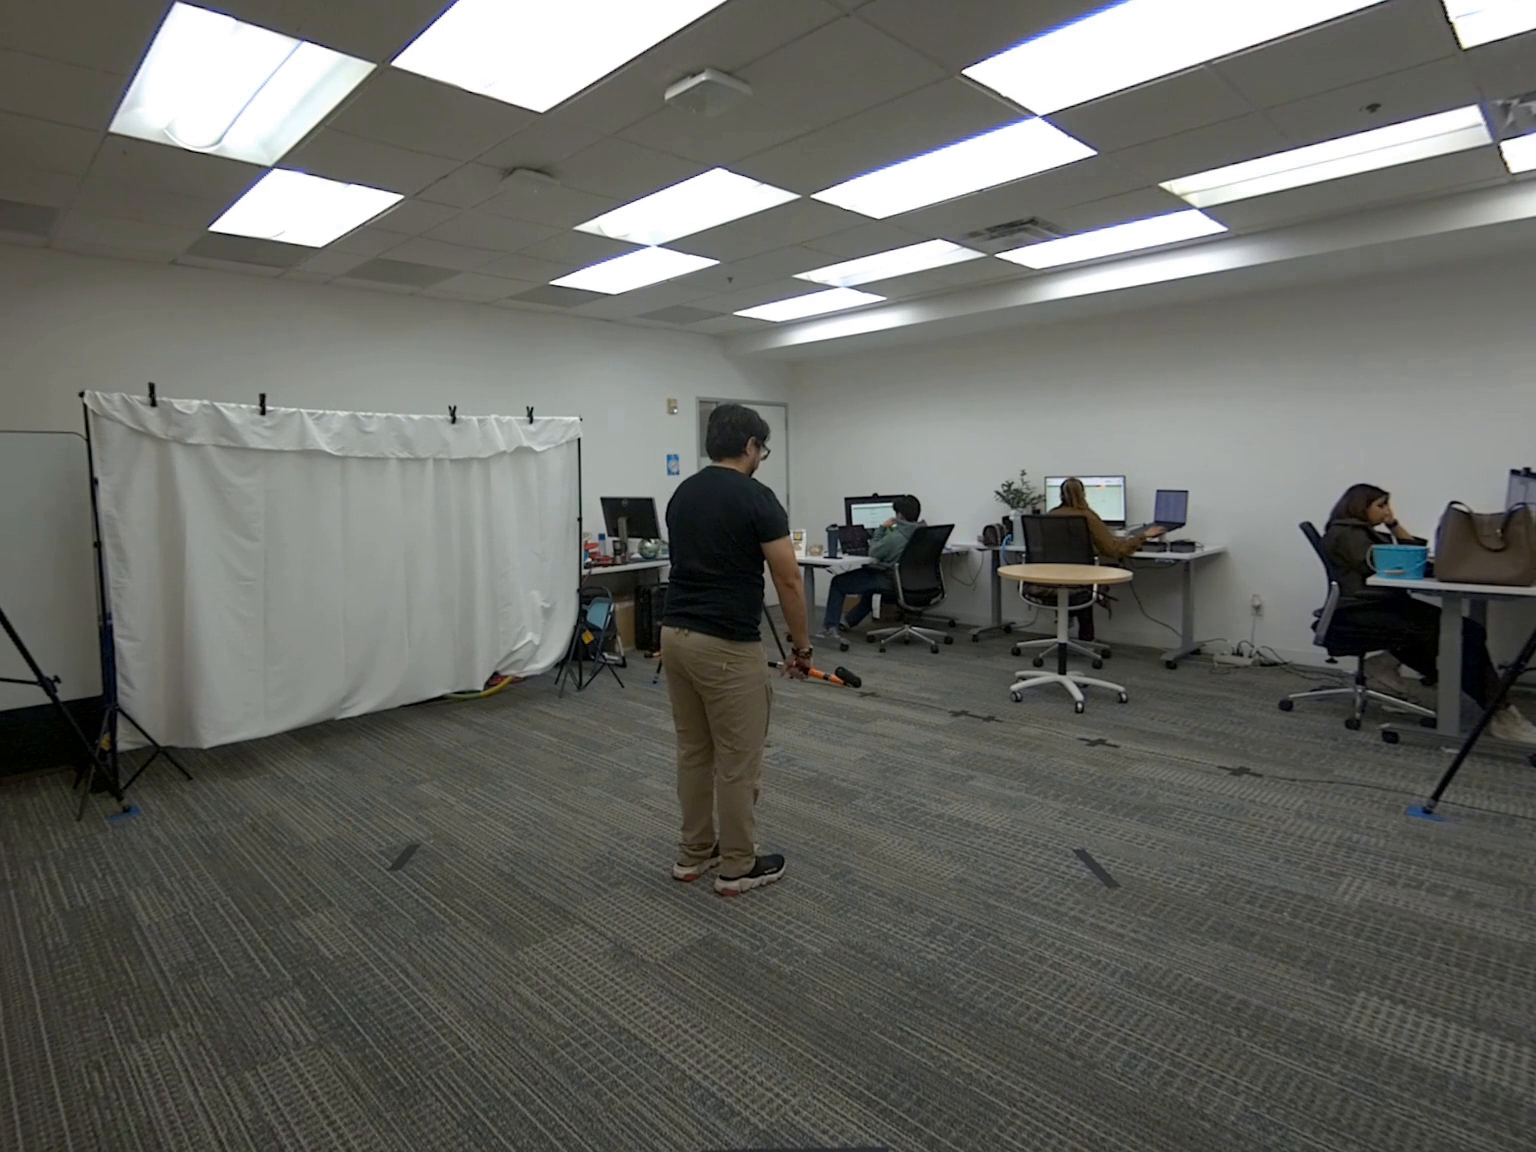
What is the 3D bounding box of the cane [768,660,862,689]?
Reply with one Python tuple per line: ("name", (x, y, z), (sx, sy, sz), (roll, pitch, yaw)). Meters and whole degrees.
("cane", (-0.044, 0.322, 3.029), (0.936, 0.153, 0.198), (6, -21, 44))
